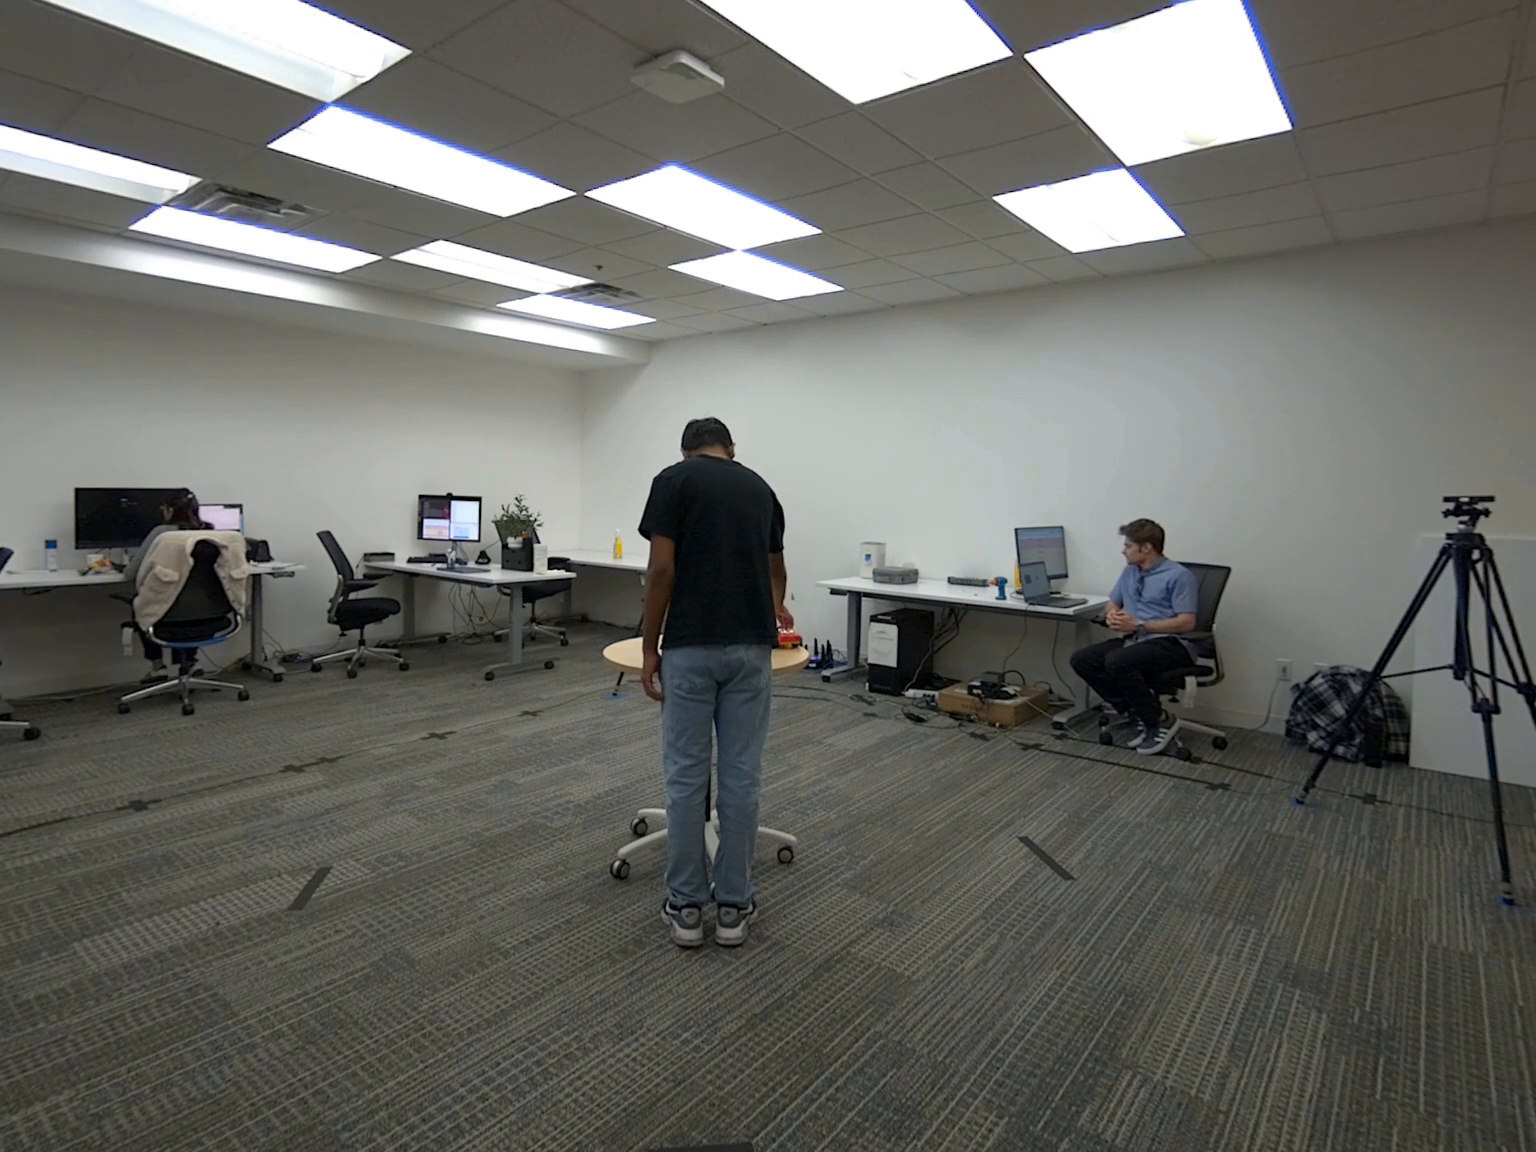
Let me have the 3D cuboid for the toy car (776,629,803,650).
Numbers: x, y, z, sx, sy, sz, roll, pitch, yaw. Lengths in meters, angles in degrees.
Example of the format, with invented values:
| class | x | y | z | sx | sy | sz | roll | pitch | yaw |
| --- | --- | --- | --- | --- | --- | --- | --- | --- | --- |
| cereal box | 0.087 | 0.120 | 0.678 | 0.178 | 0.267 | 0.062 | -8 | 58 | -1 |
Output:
| class | x | y | z | sx | sy | sz | roll | pitch | yaw |
| --- | --- | --- | --- | --- | --- | --- | --- | --- | --- |
| toy car | 0.045 | 0.238 | 3.328 | 0.128 | 0.084 | 0.256 | -1 | -8 | -17 |
